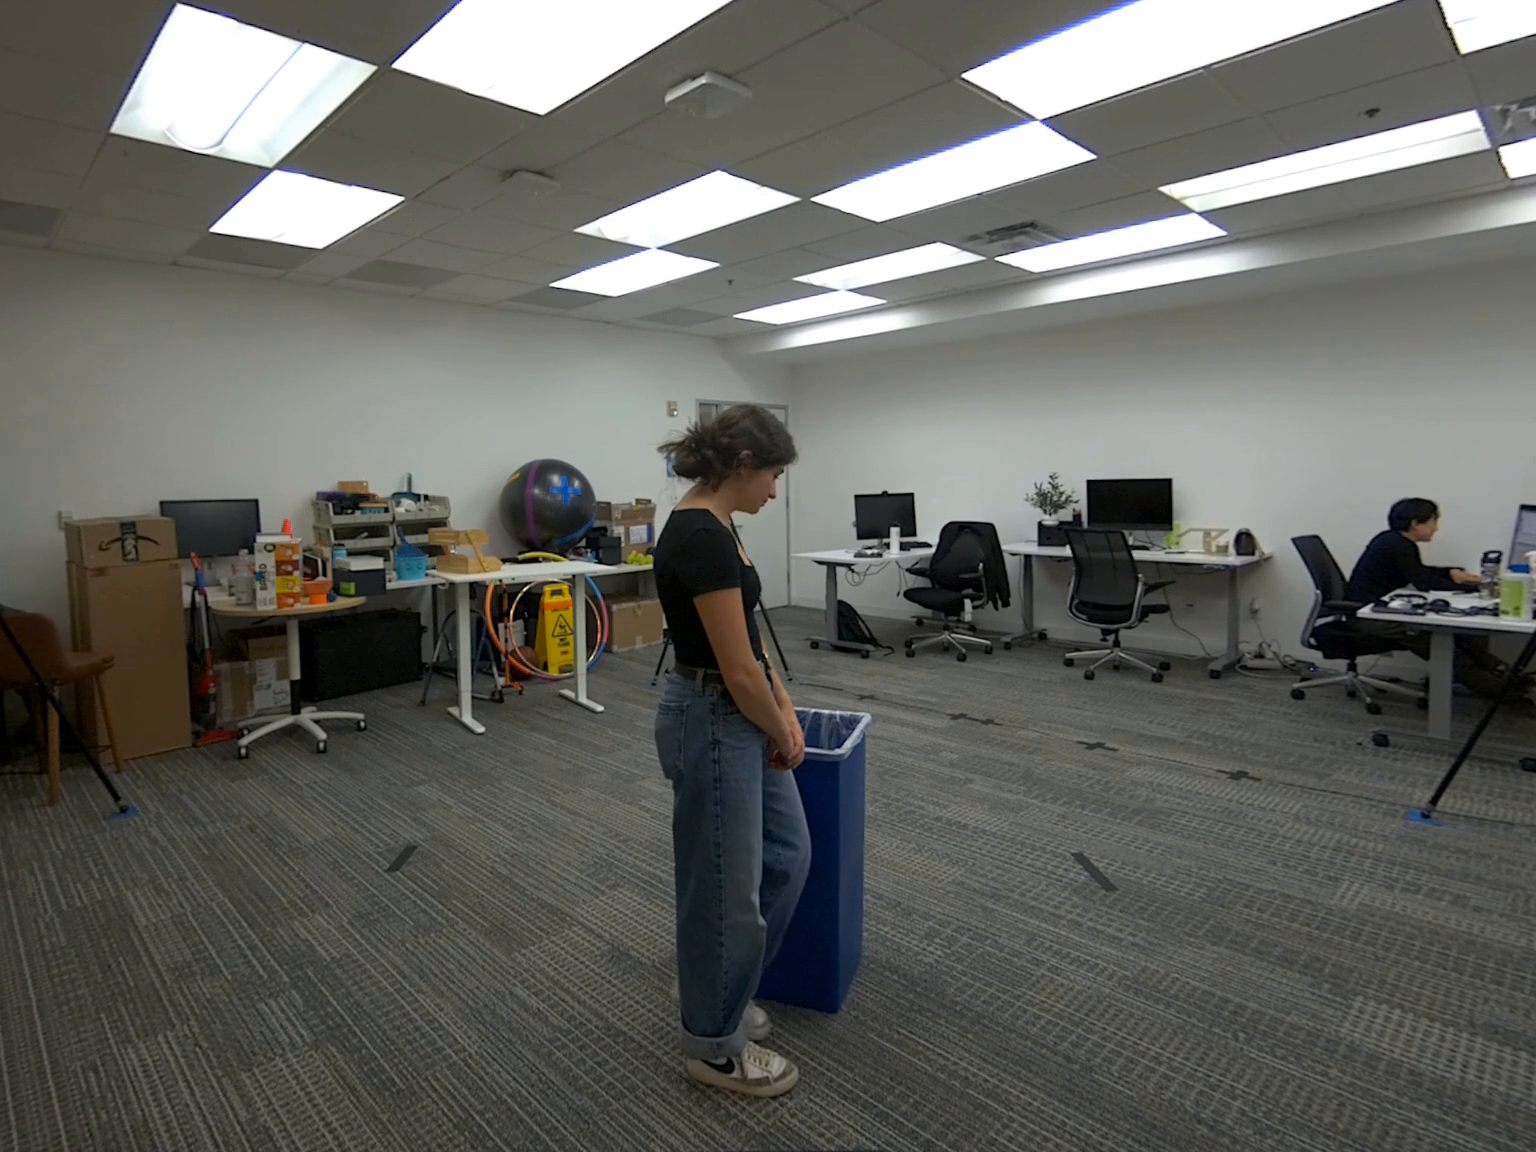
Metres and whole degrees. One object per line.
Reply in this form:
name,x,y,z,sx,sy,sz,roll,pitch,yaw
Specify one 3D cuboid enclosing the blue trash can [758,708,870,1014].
blue trash can,0.089,0.771,2.385,0.385,0.711,0.368,0,4,20
